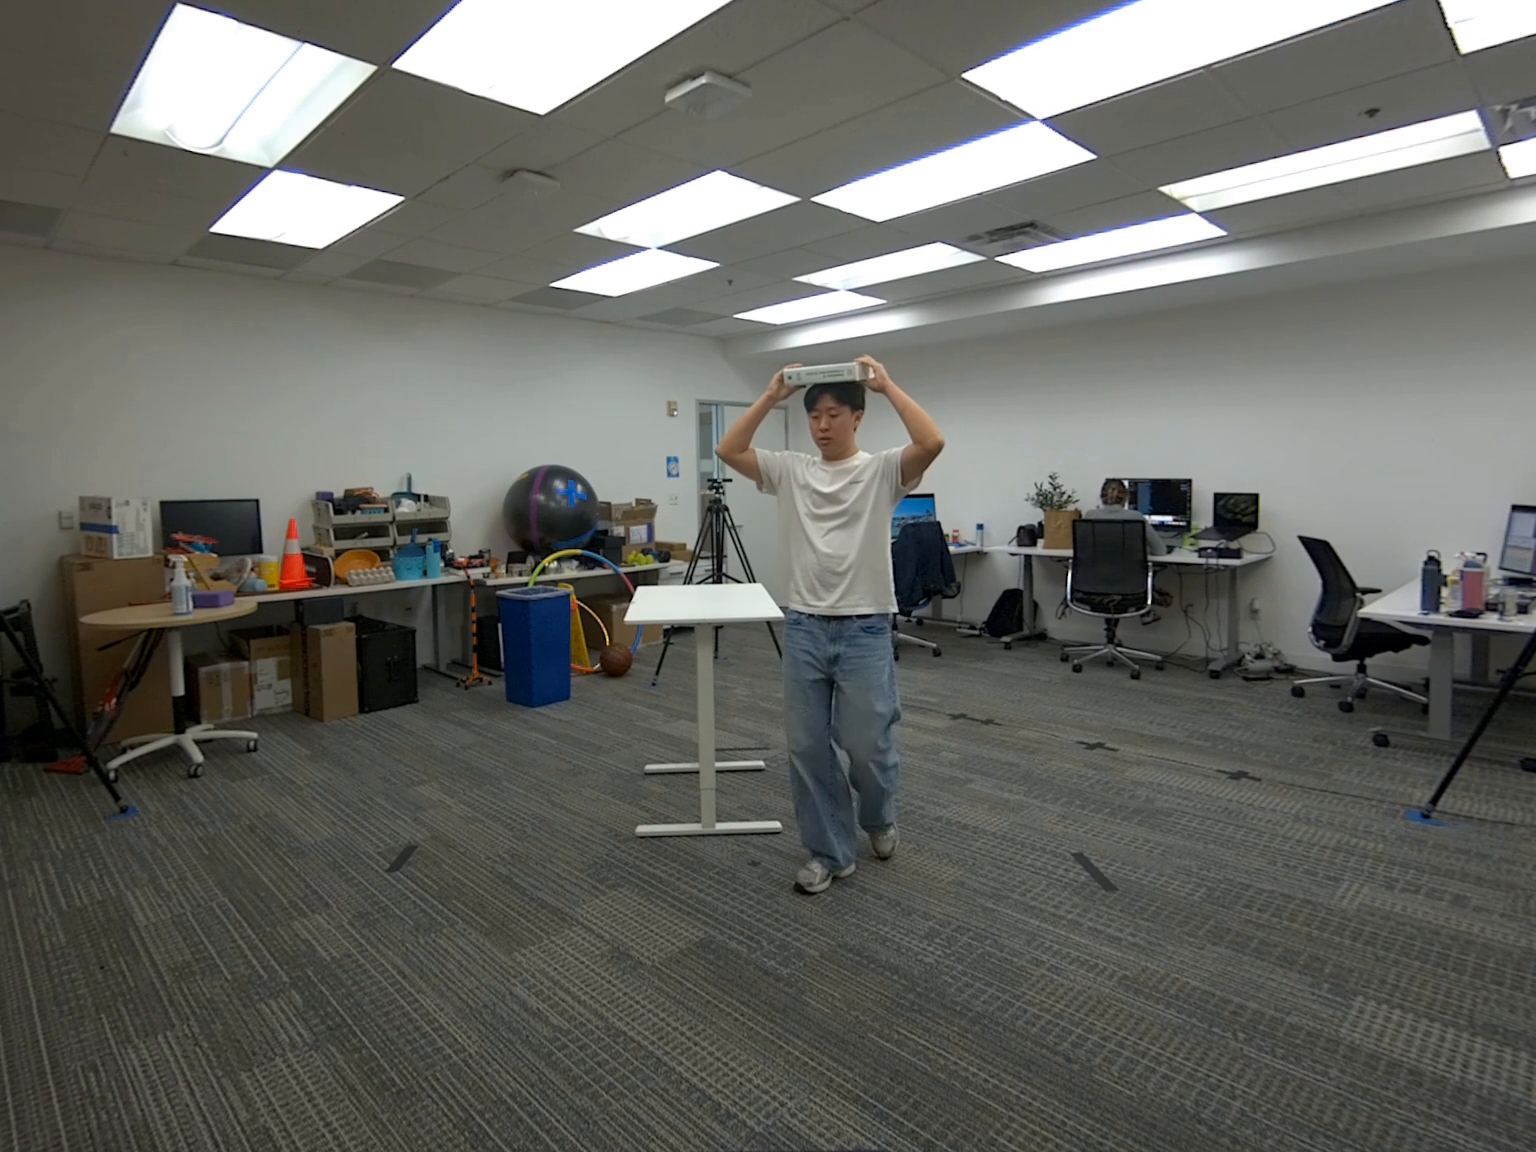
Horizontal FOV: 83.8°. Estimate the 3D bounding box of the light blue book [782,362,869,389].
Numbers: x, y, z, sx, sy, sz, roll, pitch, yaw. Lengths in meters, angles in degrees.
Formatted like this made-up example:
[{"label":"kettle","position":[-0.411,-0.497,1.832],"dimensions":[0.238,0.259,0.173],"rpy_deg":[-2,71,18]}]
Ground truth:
[{"label":"light blue book","position":[0.220,-0.686,2.898],"dimensions":[0.268,0.058,0.188],"rpy_deg":[3,15,30]}]
